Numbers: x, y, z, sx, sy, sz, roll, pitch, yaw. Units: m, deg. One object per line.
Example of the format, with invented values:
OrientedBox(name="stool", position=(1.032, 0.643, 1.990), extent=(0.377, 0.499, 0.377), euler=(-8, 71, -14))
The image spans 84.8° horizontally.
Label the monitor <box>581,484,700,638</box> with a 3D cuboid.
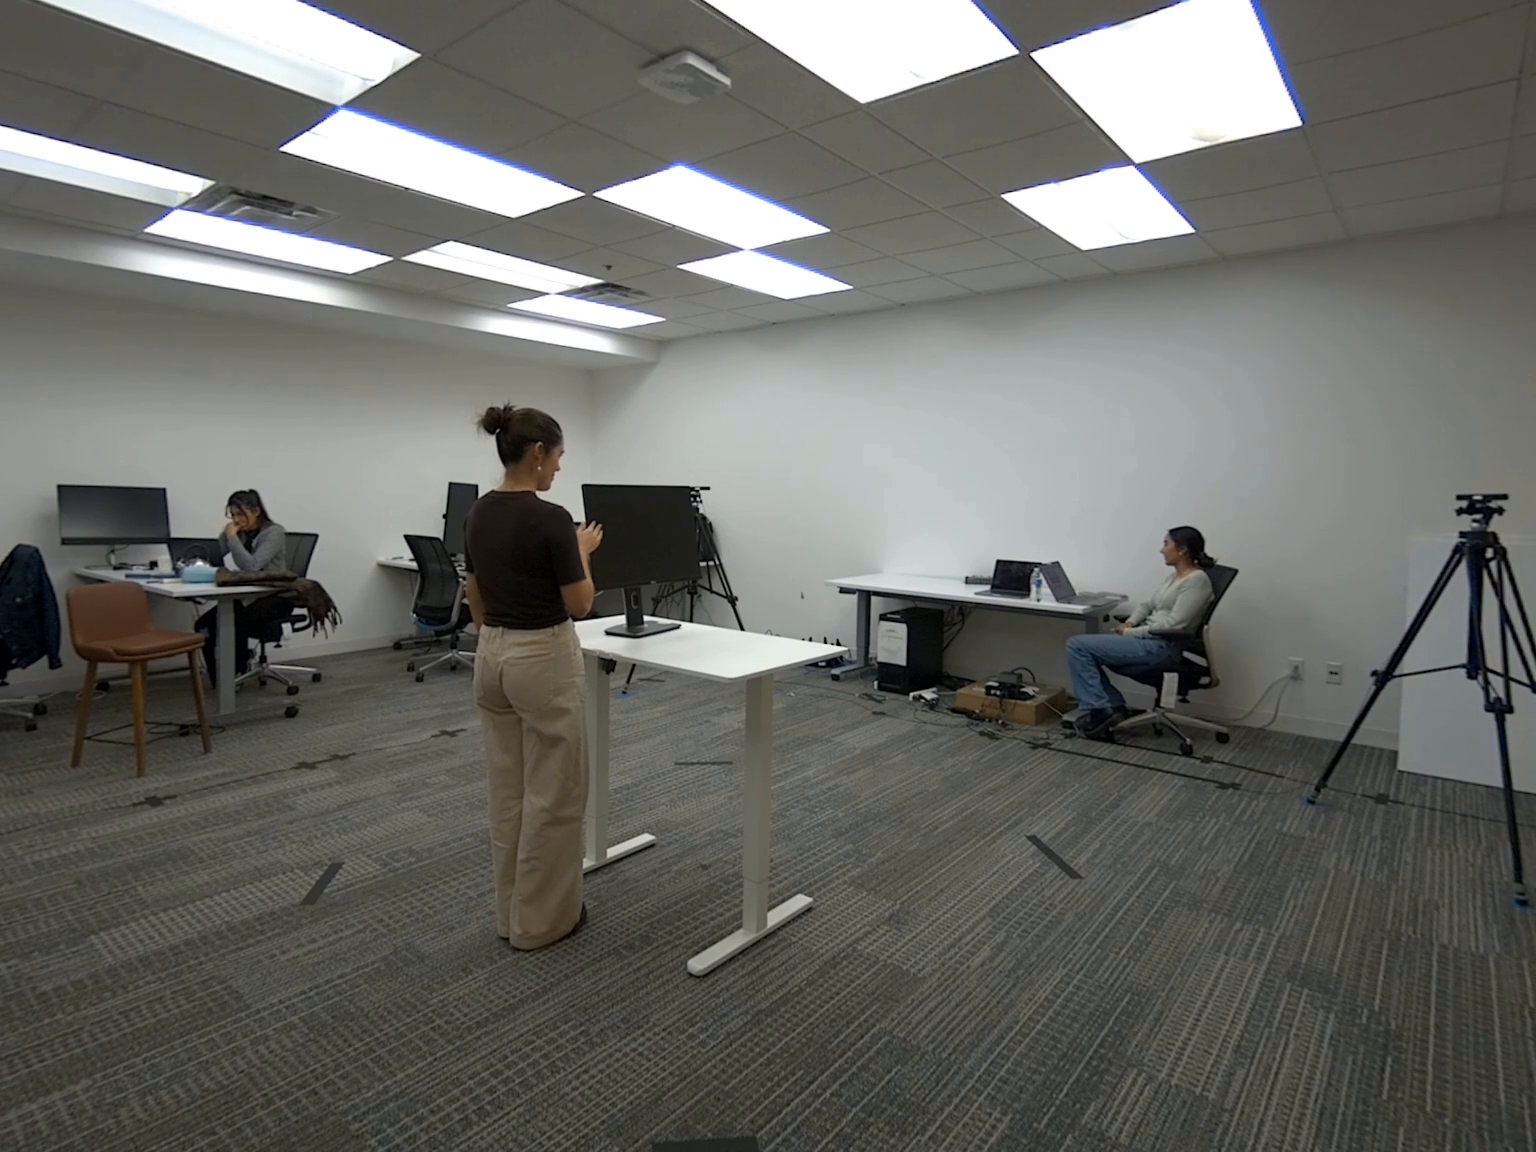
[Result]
OrientedBox(name="monitor", position=(-0.460, -0.060, 2.980), extent=(0.193, 0.520, 0.524), euler=(5, 6, 37))
